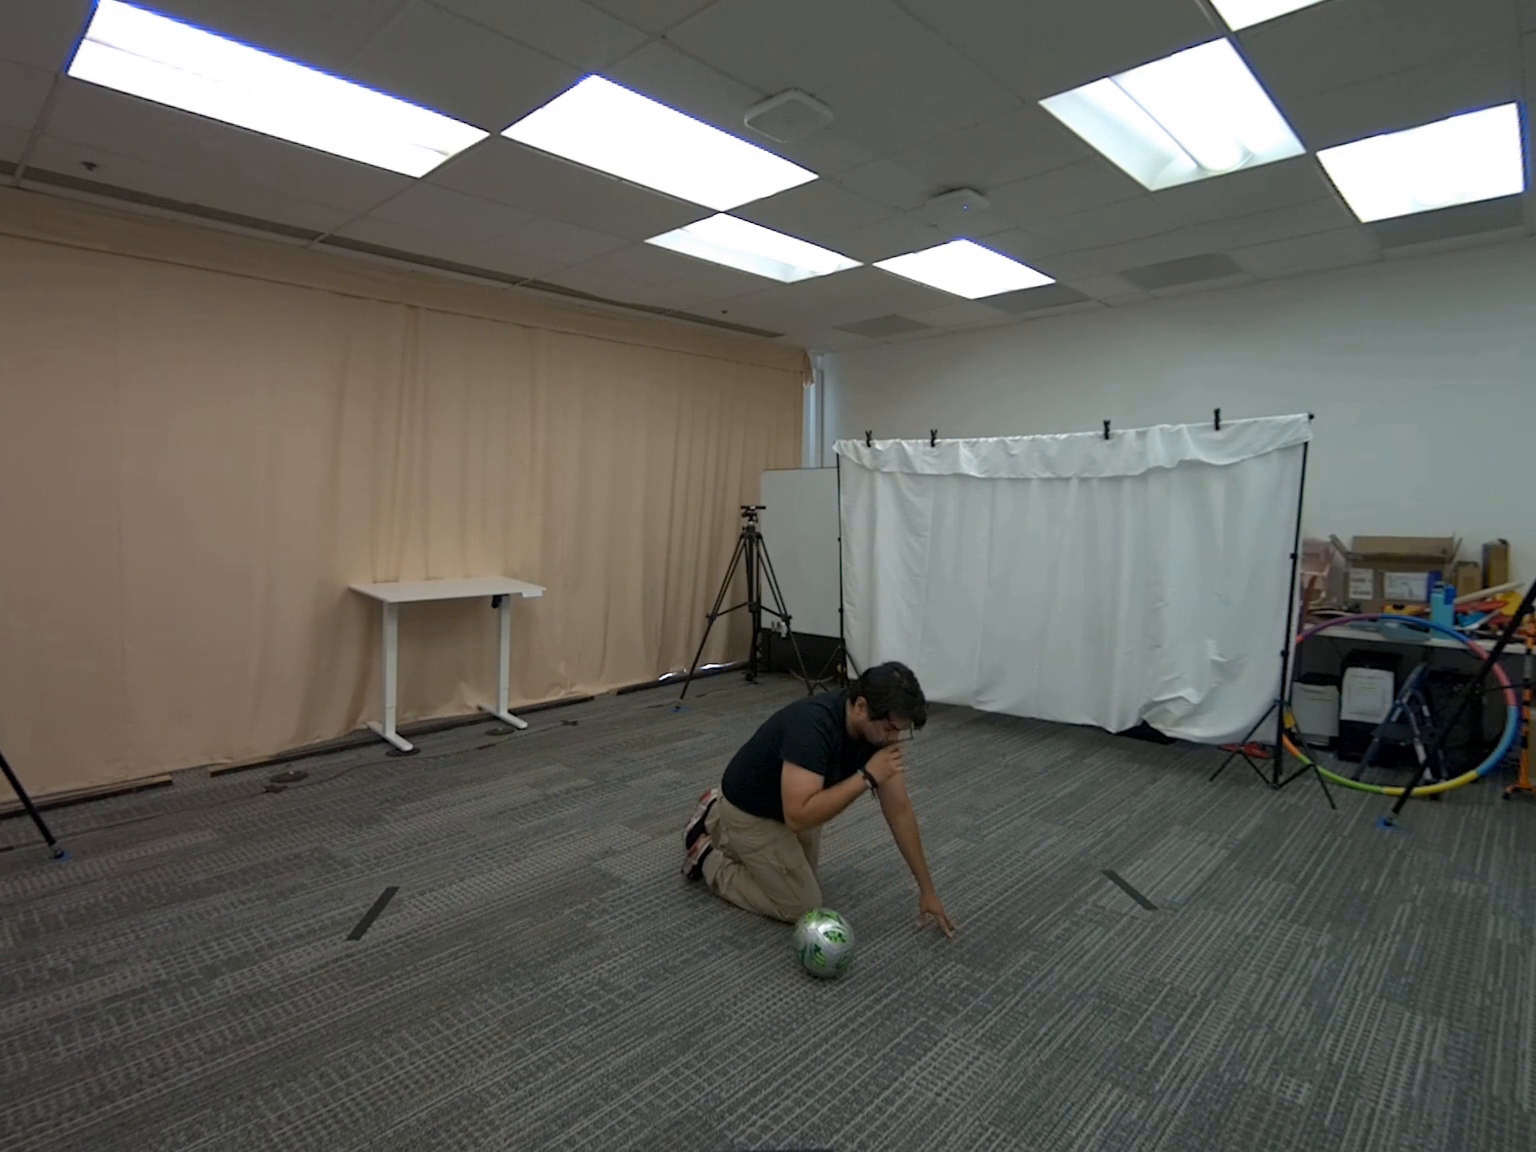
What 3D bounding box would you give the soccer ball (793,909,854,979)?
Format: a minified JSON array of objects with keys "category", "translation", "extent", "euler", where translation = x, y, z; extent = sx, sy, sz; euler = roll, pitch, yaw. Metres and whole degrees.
[{"category":"soccer ball","translation":[0.165,1.081,2.510],"extent":[0.187,0.187,0.188],"euler":[0,4,-2]}]
